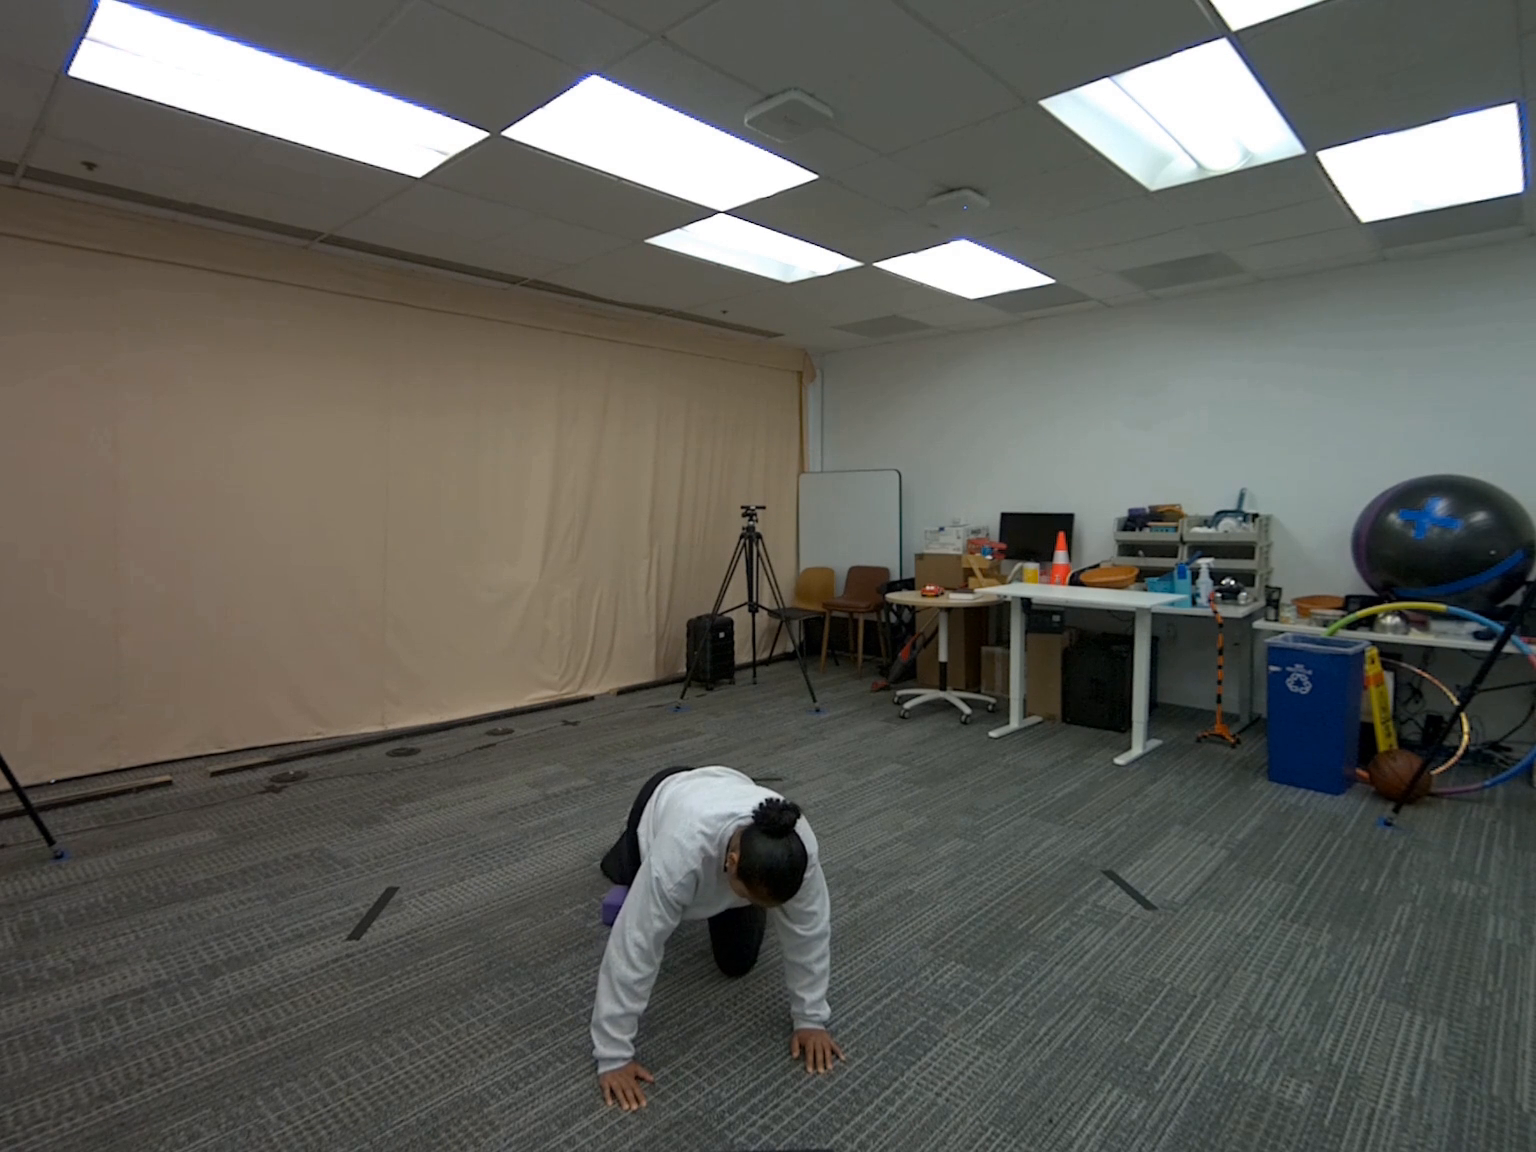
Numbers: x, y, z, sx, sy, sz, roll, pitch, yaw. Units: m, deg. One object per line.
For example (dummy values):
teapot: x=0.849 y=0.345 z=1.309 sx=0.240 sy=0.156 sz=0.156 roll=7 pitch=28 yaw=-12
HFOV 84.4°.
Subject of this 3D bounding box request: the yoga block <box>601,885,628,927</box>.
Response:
yoga block: x=-0.431 y=1.118 z=2.860 sx=0.231 sy=0.076 sz=0.148 roll=0 pitch=0 yaw=6
